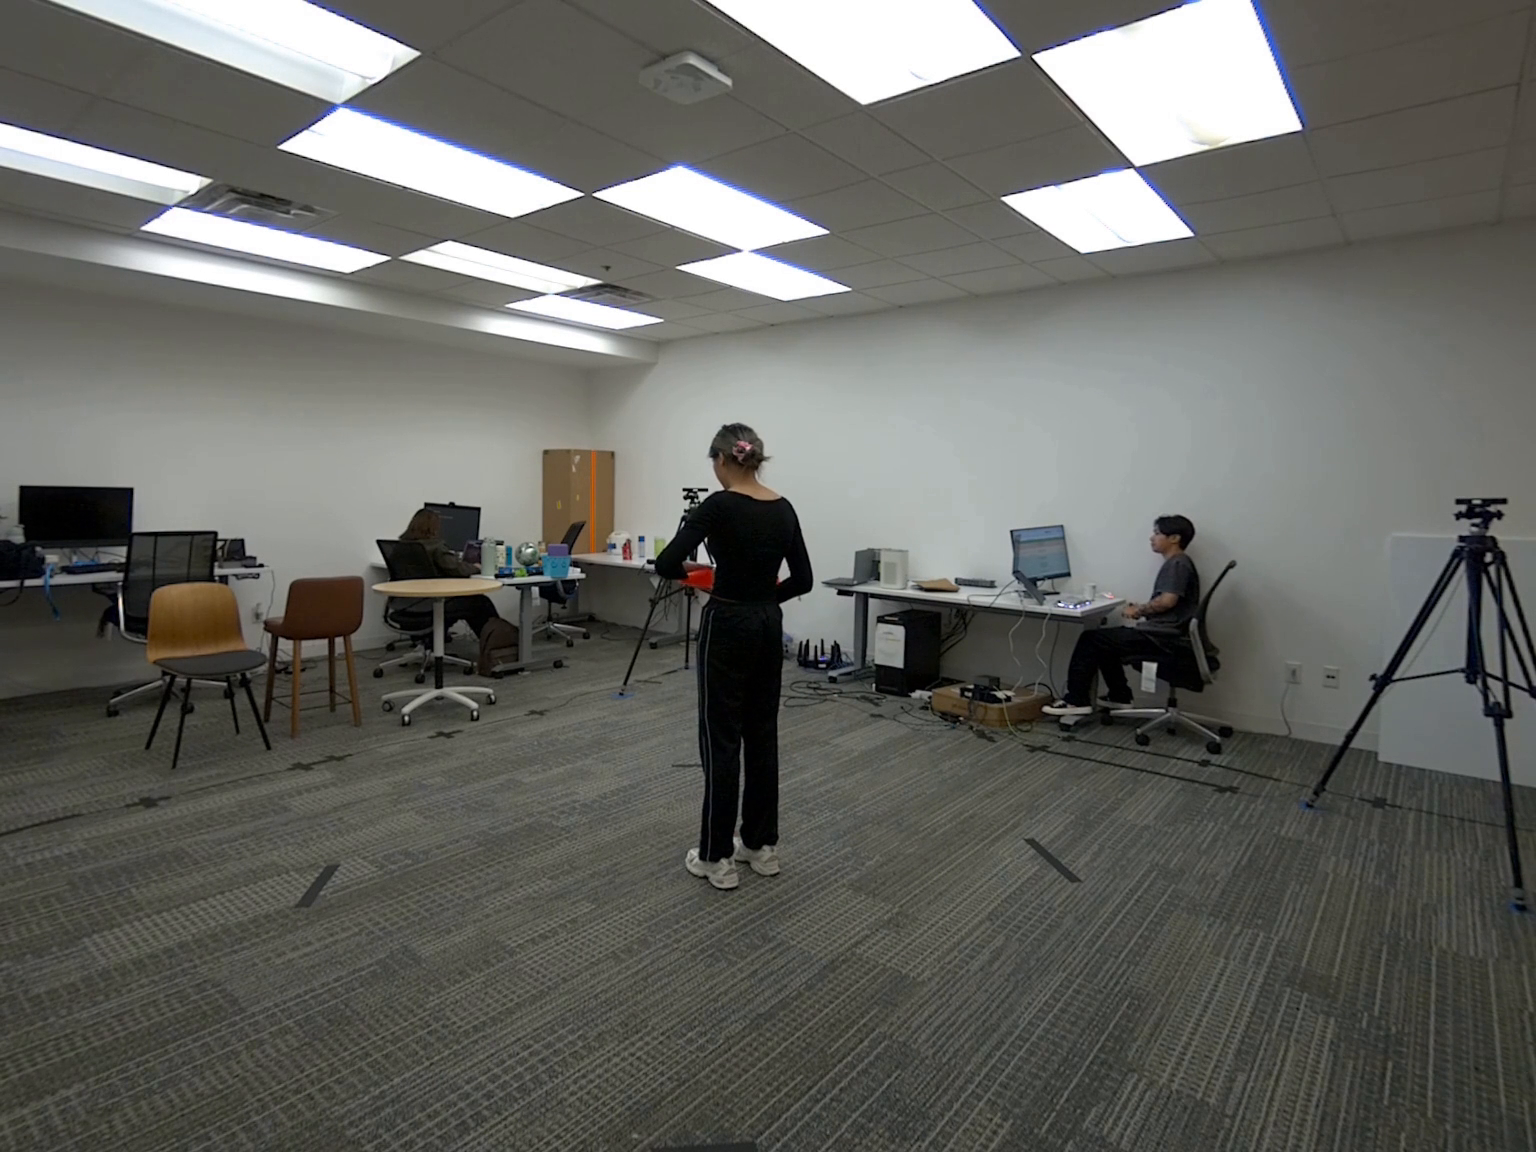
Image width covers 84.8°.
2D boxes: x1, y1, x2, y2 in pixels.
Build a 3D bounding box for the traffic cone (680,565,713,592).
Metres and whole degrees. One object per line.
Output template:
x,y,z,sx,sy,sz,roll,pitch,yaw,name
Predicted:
-0.194,-0.004,3.192,0.373,0.206,0.208,-5,-15,-39,traffic cone
